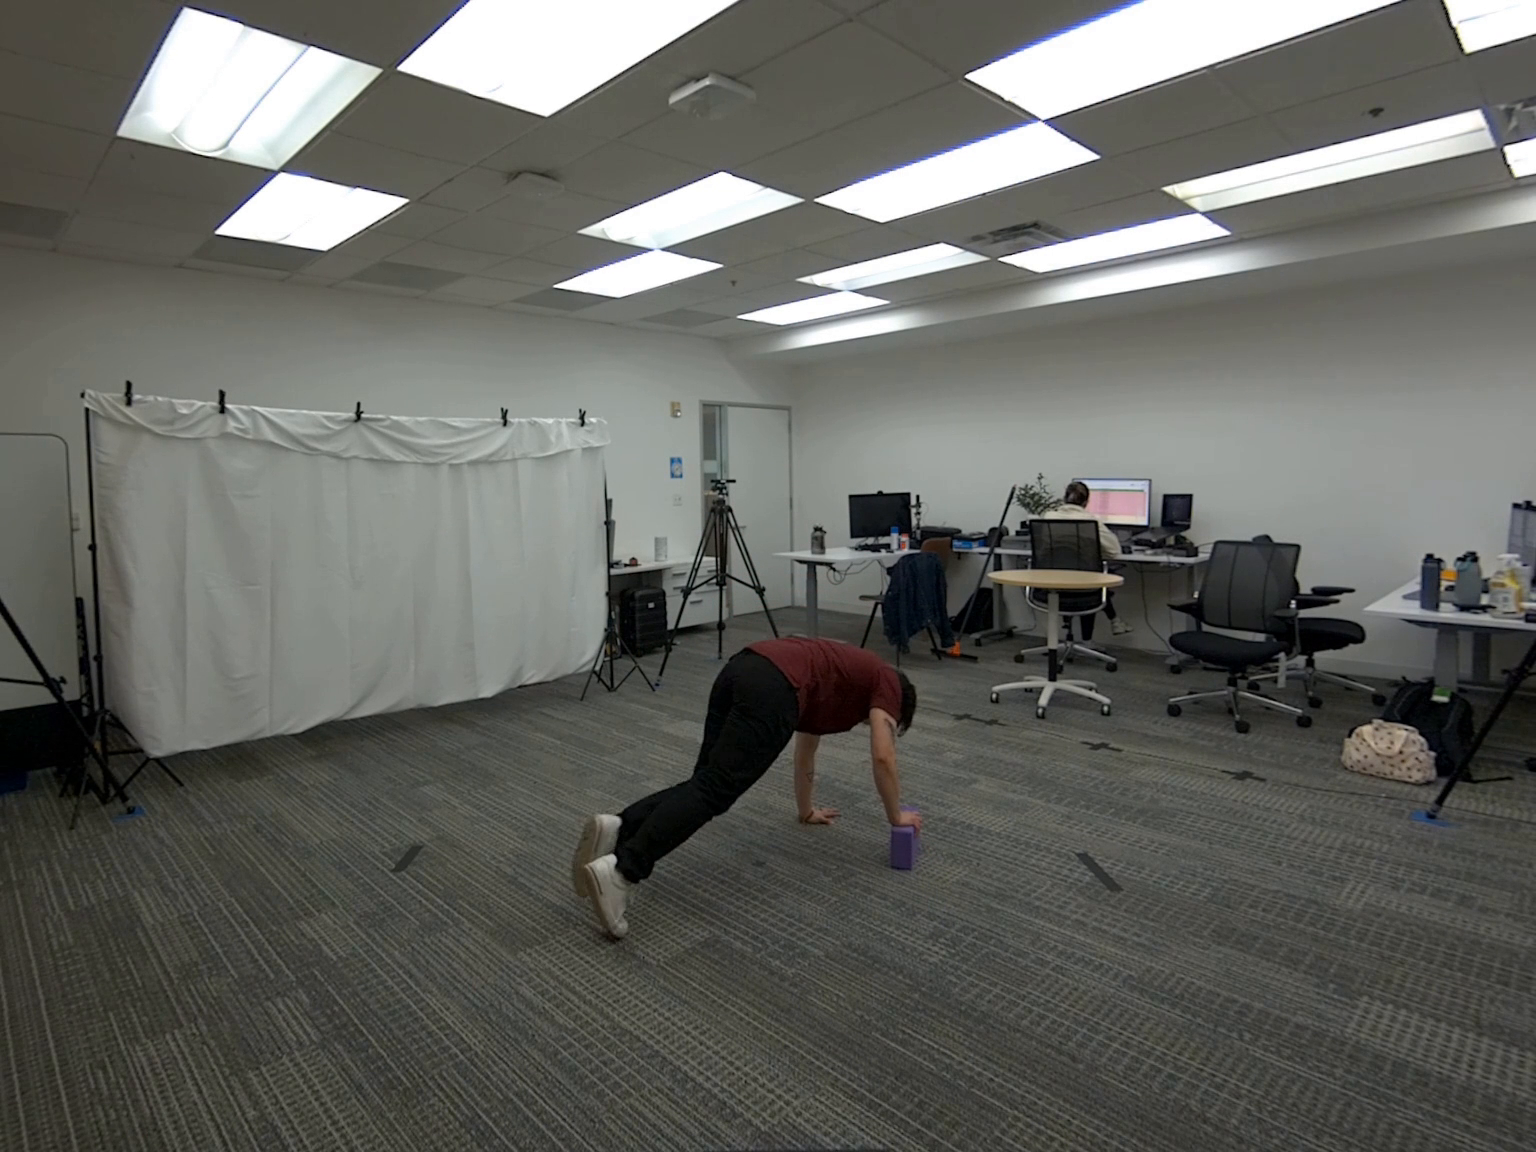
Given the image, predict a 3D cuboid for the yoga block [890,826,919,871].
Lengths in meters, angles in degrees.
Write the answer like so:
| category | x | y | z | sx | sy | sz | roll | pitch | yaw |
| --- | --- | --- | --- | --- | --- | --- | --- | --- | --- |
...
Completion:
| category | x | y | z | sx | sy | sz | roll | pitch | yaw |
| --- | --- | --- | --- | --- | --- | --- | --- | --- | --- |
| yoga block | 0.502 | 0.956 | 3.141 | 0.078 | 0.148 | 0.227 | -1 | 7 | 17 |
